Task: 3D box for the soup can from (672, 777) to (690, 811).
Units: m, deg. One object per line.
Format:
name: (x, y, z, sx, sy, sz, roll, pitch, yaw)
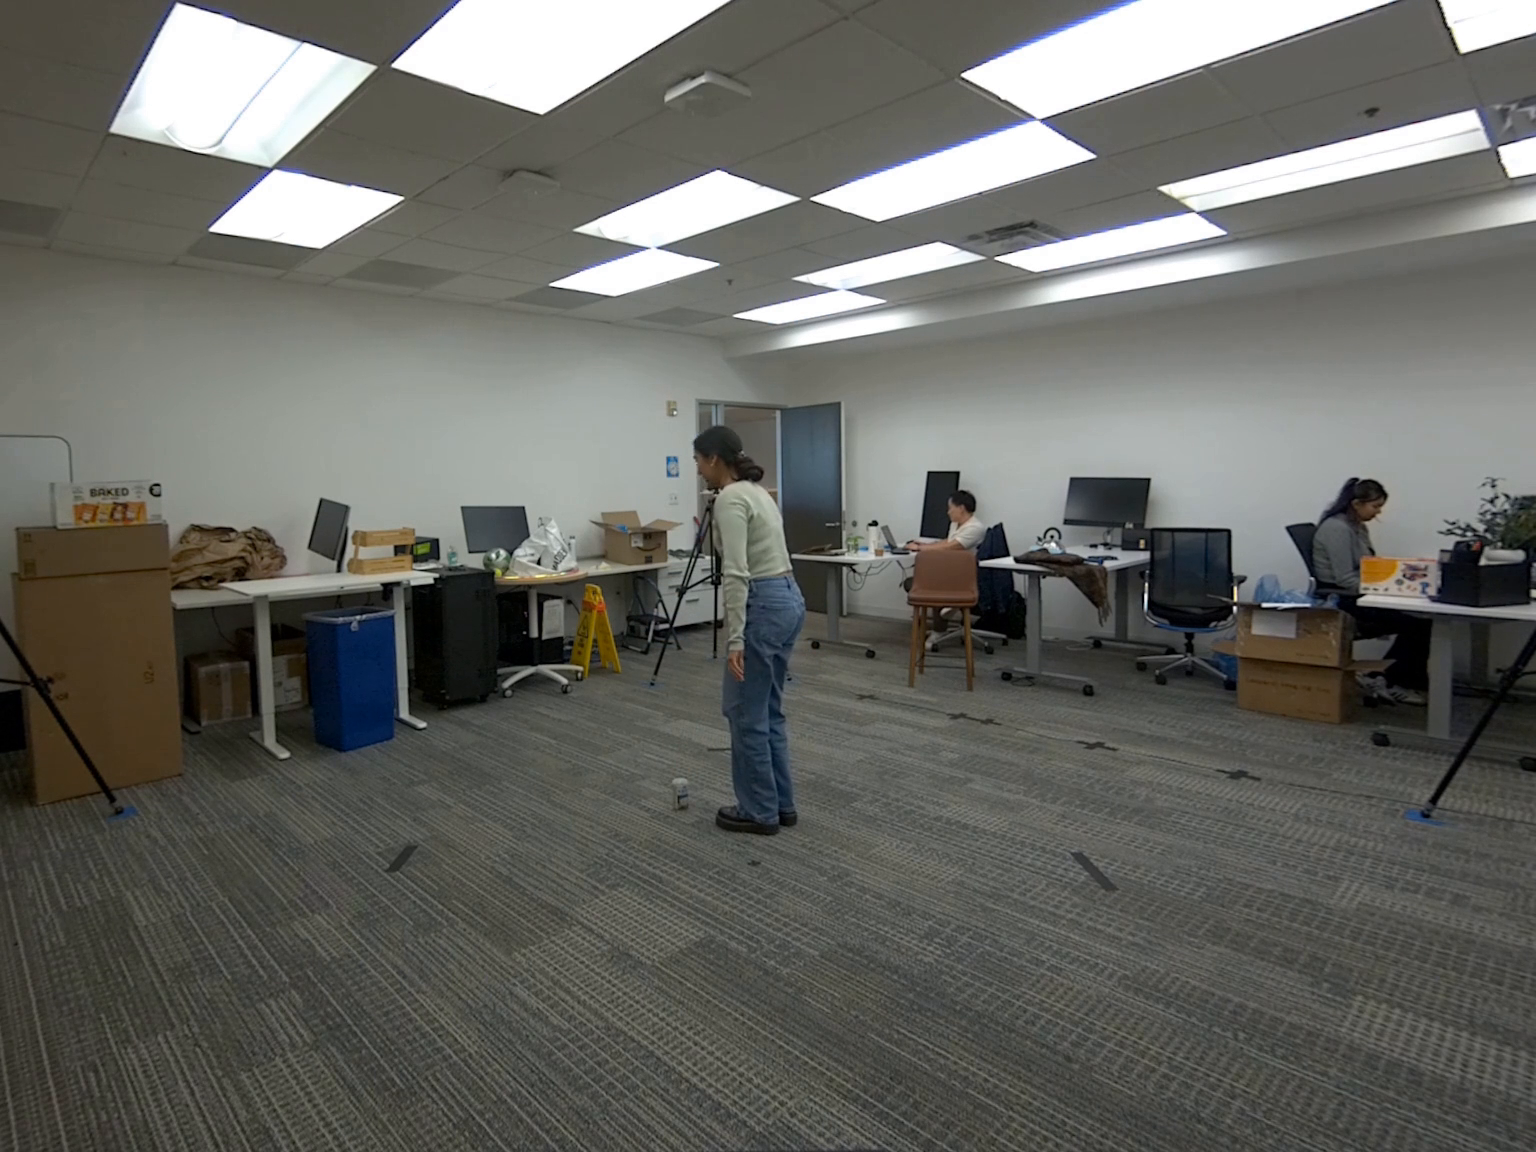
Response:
soup can: (-0.368, 0.930, 3.648, 0.067, 0.121, 0.067, -4, 3, -1)
